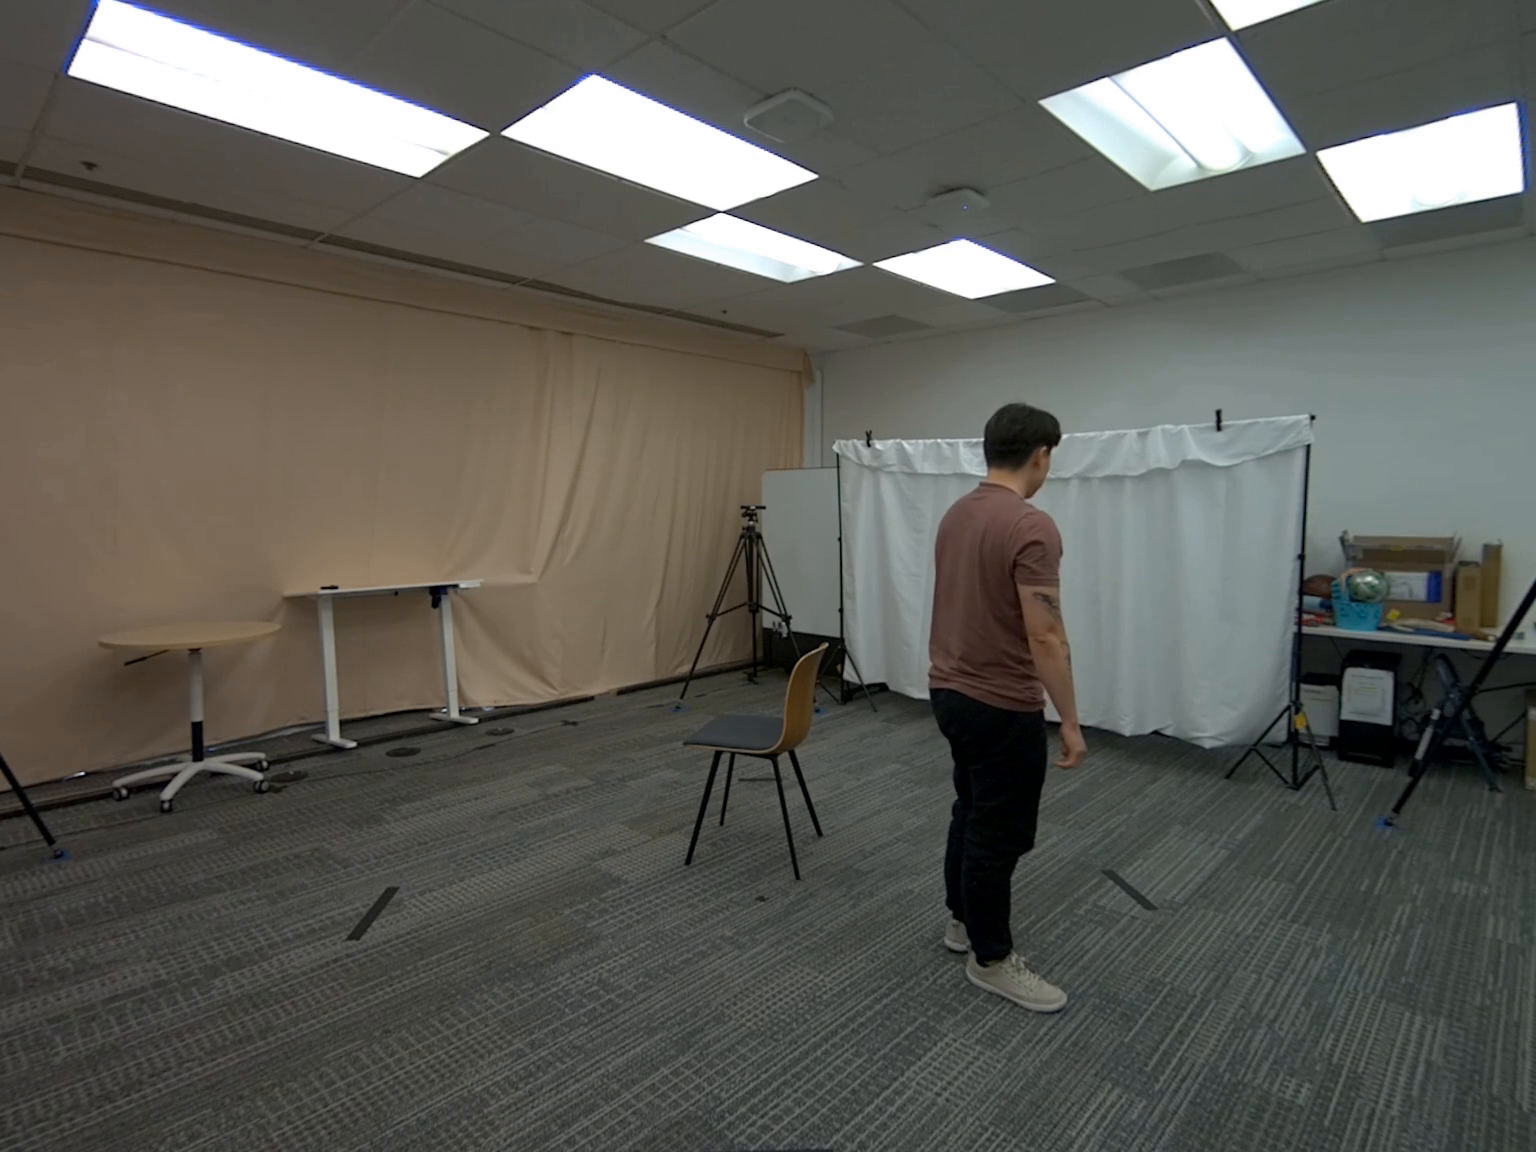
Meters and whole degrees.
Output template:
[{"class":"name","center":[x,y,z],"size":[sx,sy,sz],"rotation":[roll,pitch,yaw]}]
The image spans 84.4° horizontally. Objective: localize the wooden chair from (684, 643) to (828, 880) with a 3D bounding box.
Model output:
[{"class":"wooden chair","center":[-0.055,0.684,3.376],"size":[0.533,0.875,0.470],"rotation":[5,5,17]}]
